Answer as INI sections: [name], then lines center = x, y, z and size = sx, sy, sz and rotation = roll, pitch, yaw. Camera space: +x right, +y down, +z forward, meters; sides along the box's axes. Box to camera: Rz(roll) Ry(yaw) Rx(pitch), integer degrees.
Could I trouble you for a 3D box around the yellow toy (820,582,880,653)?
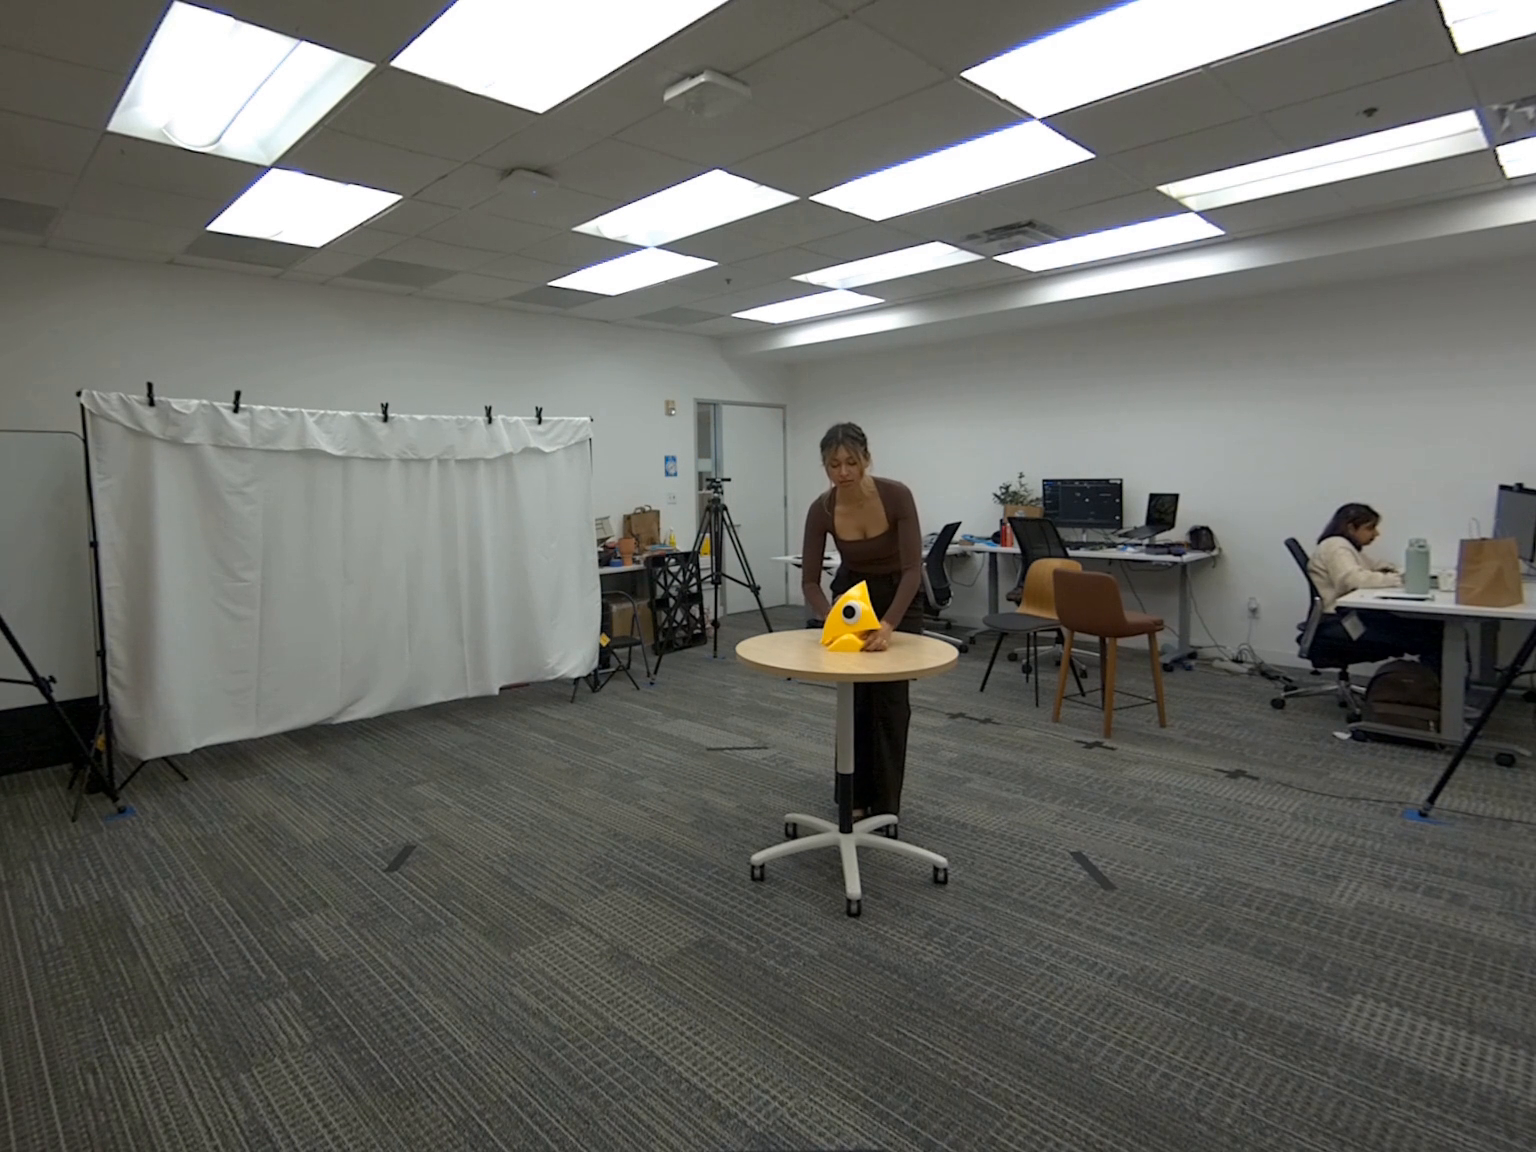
[yellow toy]
center = 0.288, 0.138, 3.010
size = 0.192, 0.230, 0.207
rotation = -2, 6, -8
